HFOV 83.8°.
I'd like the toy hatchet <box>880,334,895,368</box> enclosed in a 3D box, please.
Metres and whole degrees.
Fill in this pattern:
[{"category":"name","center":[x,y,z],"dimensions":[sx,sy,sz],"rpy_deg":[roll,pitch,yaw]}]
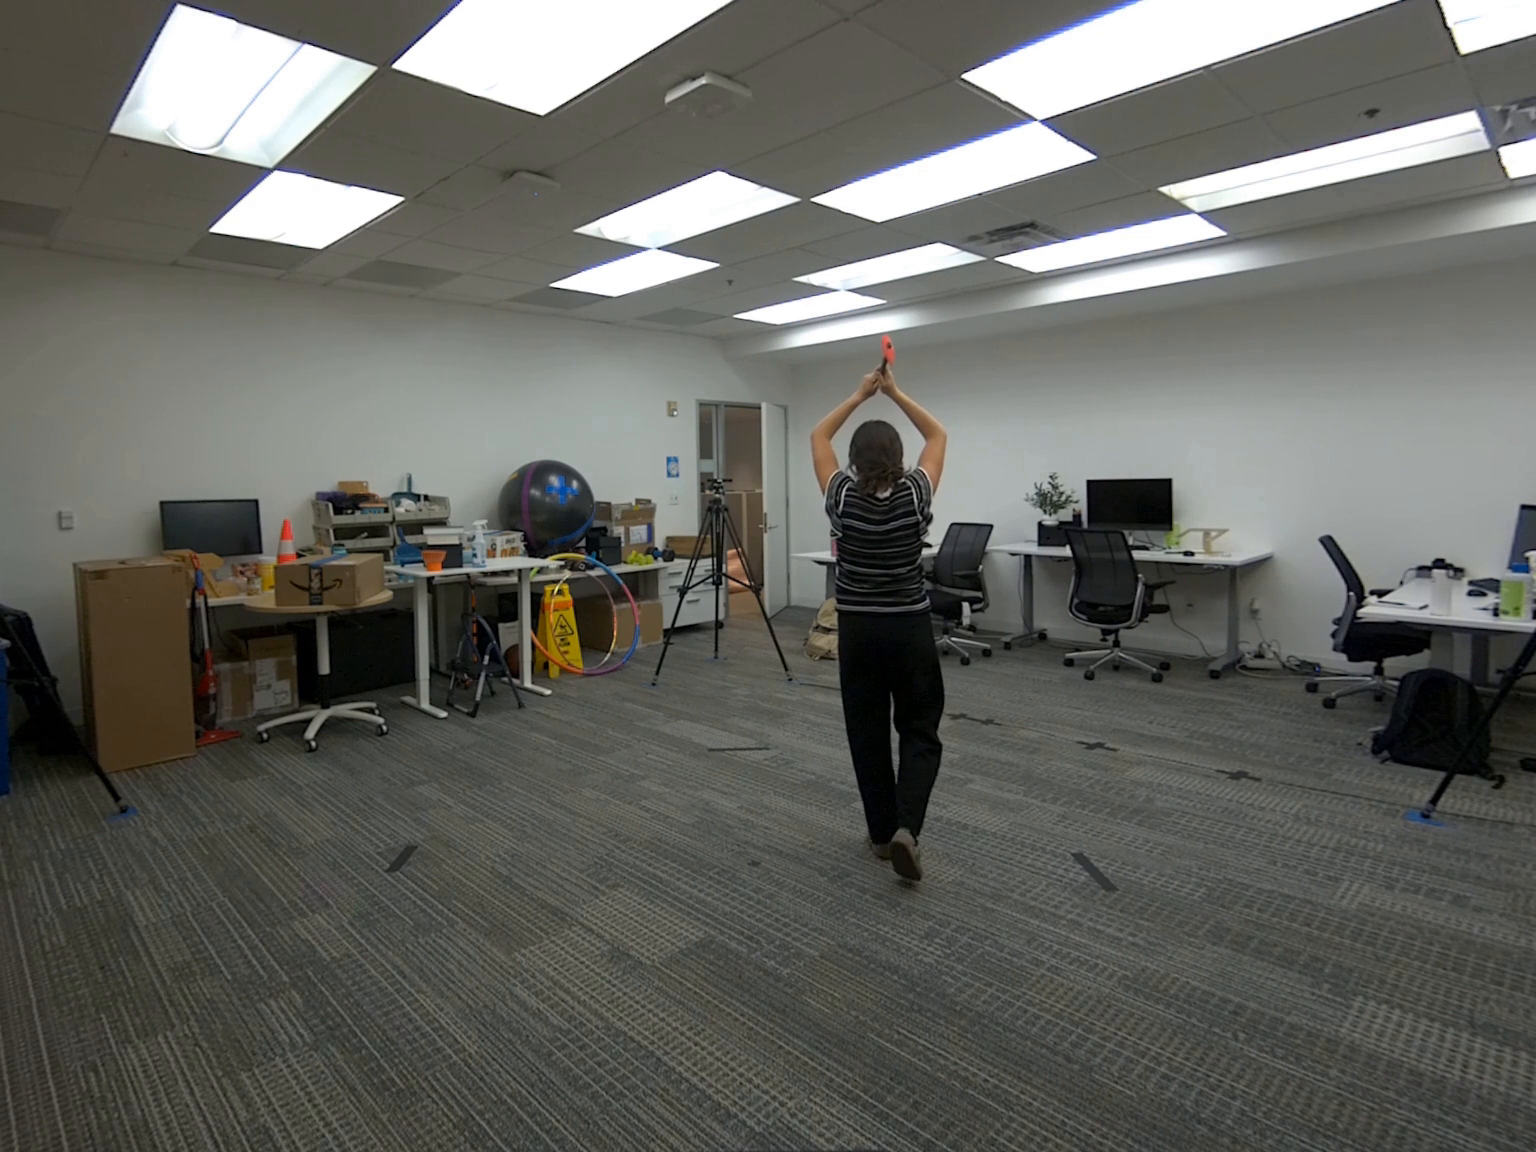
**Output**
[{"category":"toy hatchet","center":[0.417,-0.780,3.082],"dimensions":[0.029,0.132,0.269],"rpy_deg":[-5,-6,-6]}]
